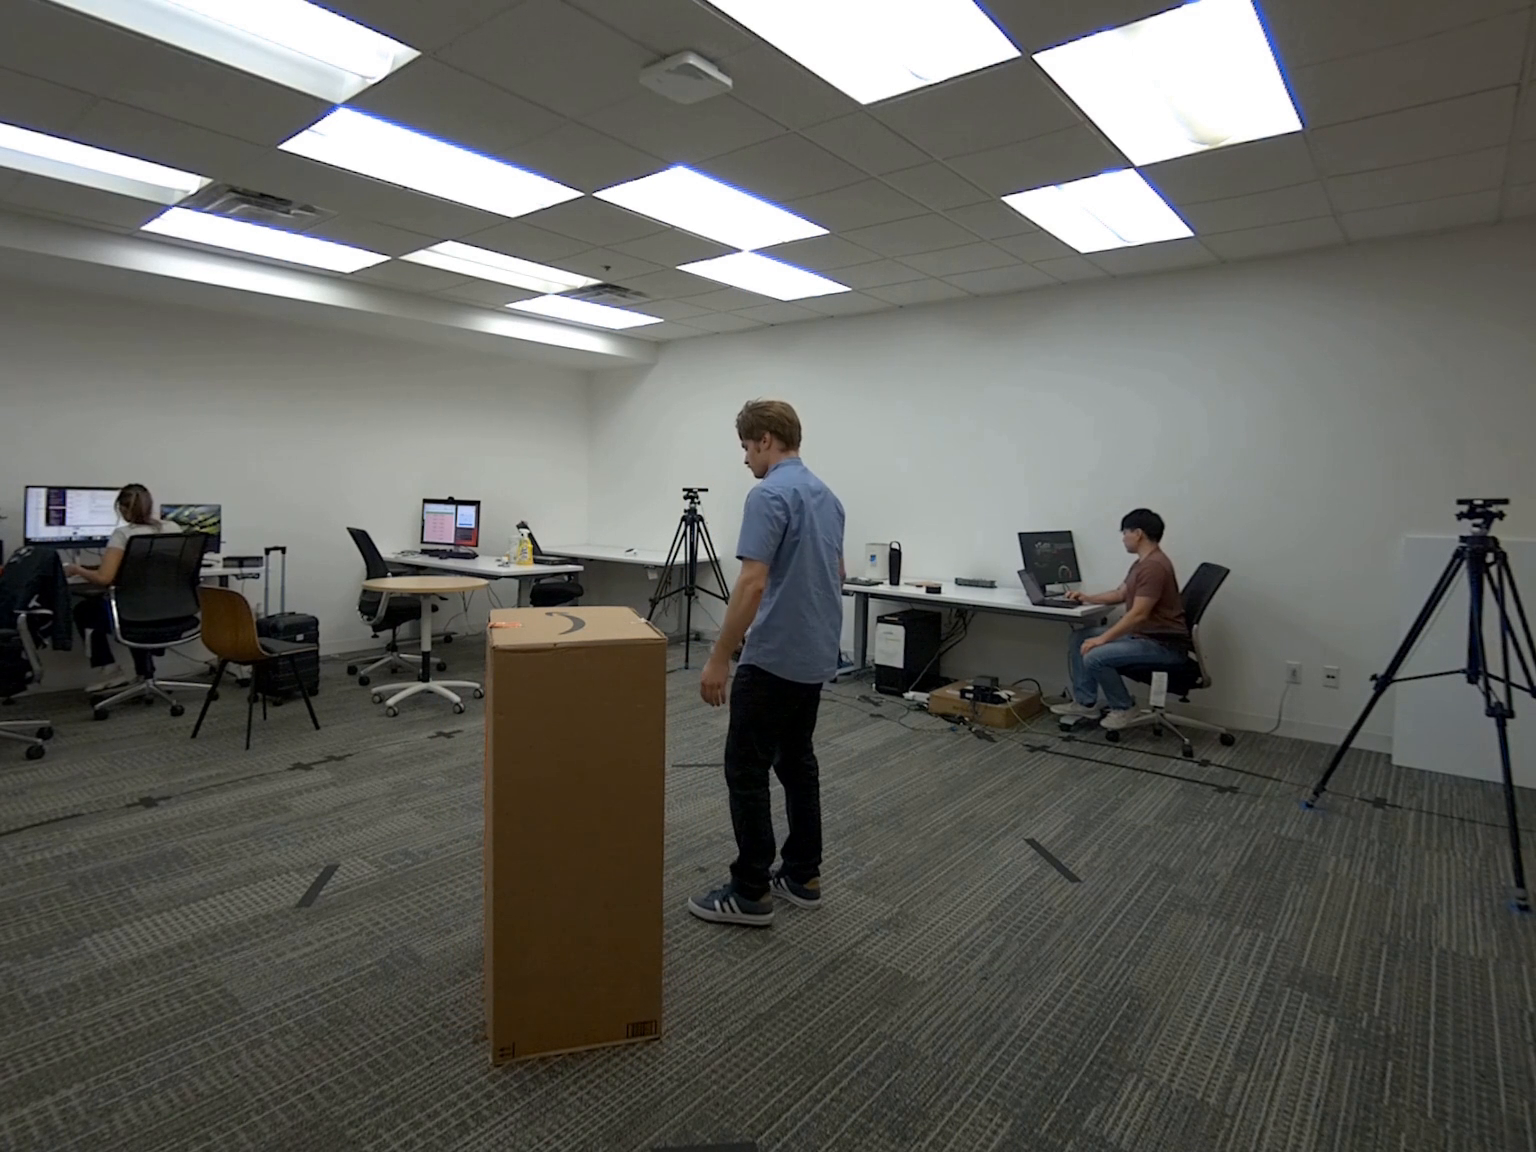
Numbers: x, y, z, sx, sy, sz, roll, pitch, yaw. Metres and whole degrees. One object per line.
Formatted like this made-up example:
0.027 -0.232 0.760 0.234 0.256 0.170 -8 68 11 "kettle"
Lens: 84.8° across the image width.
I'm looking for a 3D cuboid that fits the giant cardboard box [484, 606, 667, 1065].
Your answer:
-0.555 0.635 2.324 0.418 1.022 0.590 0 4 -18 "giant cardboard box"
